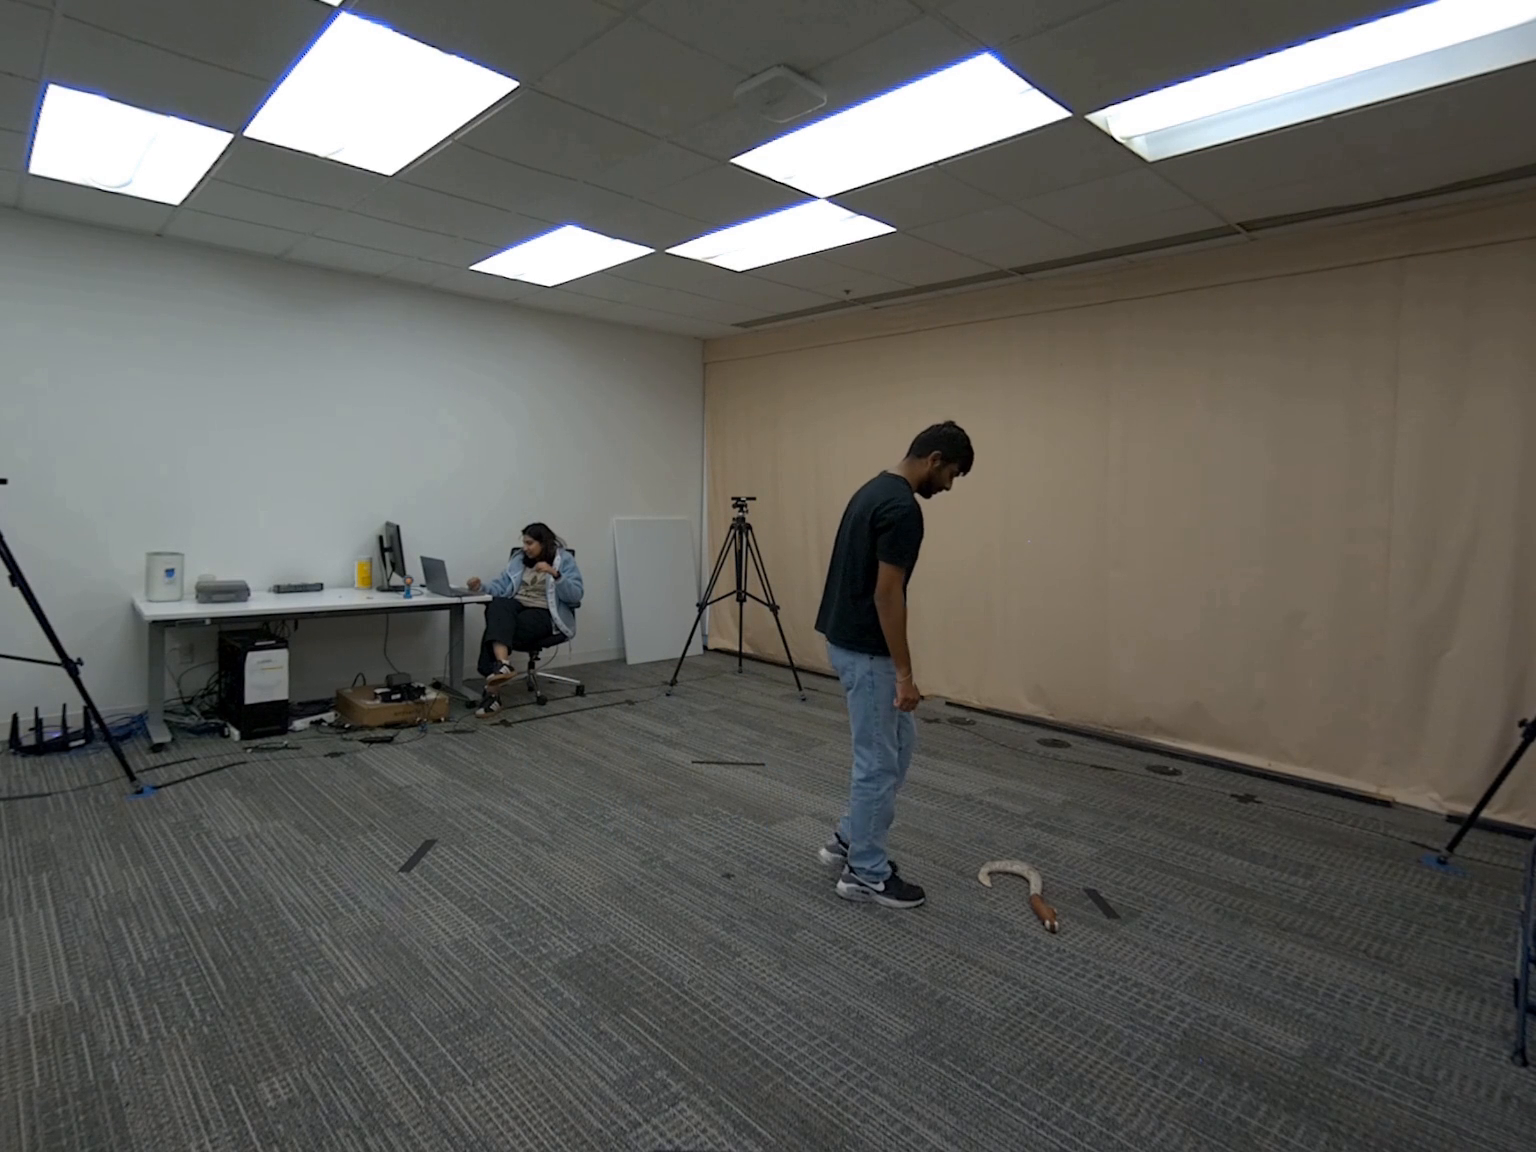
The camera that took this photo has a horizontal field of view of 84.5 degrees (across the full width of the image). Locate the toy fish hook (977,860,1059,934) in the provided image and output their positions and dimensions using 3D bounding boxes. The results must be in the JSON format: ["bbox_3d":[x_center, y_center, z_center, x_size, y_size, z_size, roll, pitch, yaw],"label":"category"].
[{"bbox_3d":[0.878,1.125,2.991,0.225,0.048,0.506,-5,4,3],"label":"toy fish hook"}]
